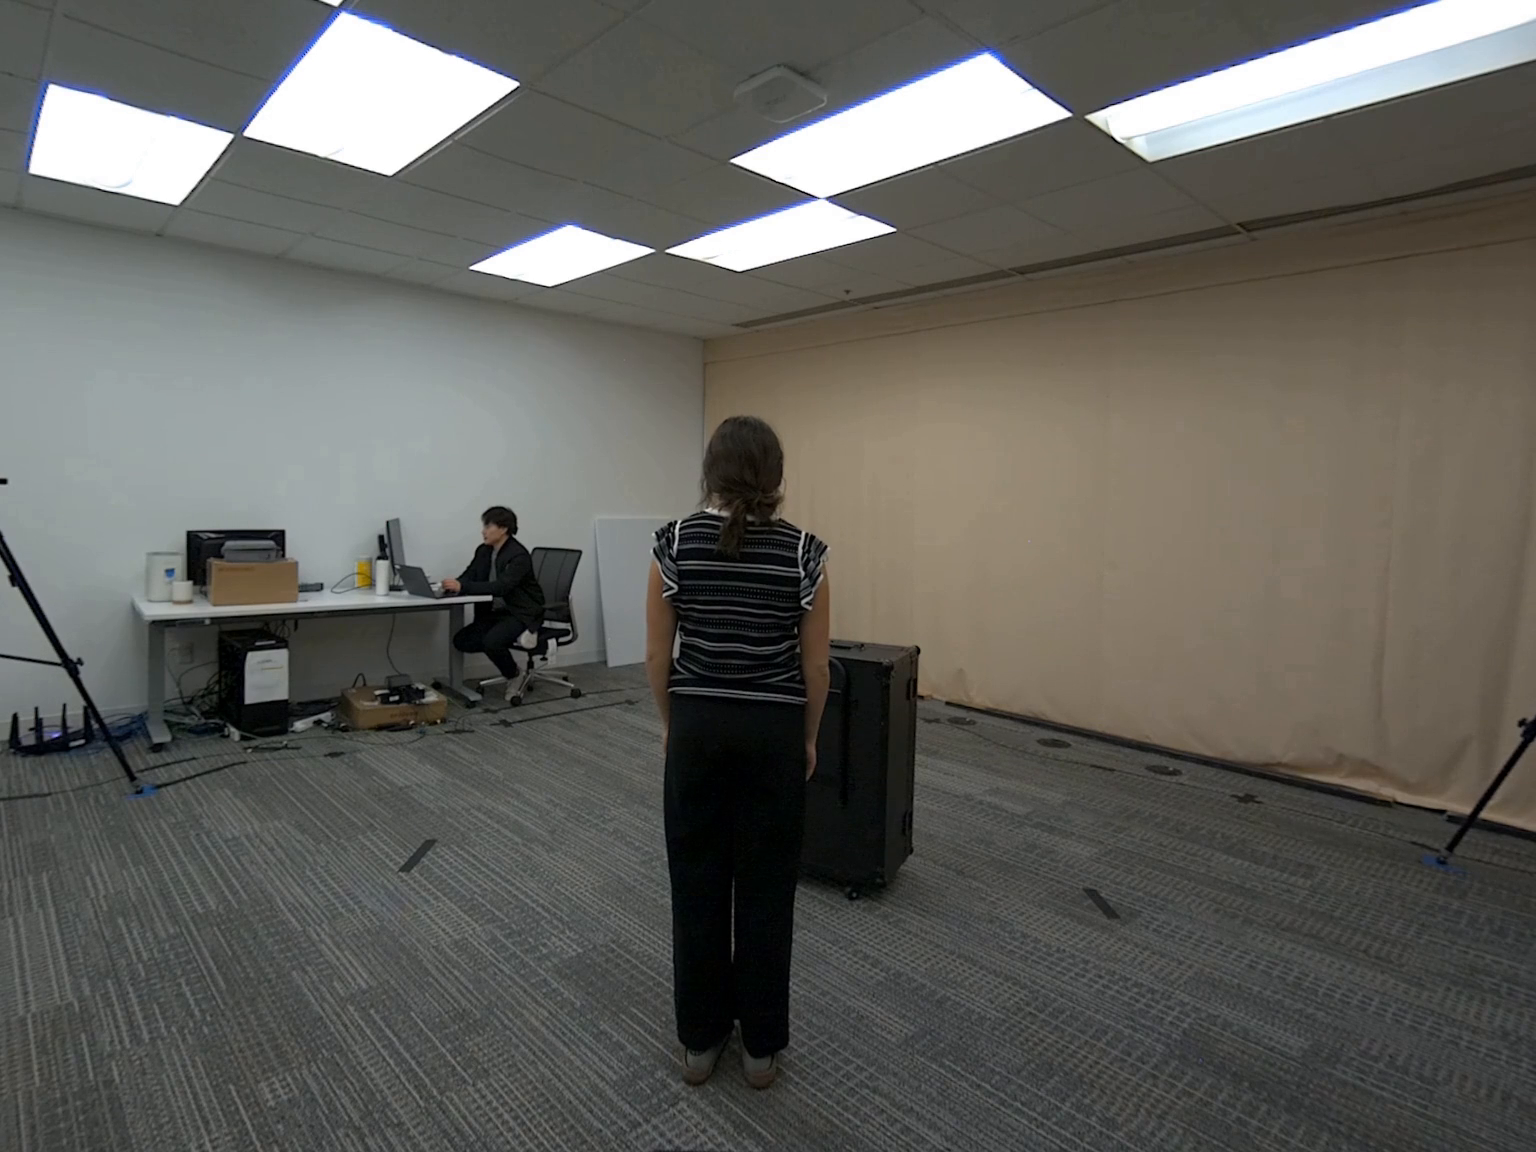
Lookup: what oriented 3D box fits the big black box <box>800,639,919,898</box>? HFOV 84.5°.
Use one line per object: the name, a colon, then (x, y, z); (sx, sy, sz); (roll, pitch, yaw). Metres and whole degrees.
big black box: (0.263, 0.689, 3.104); (0.532, 0.859, 0.389); (3, 5, 28)
